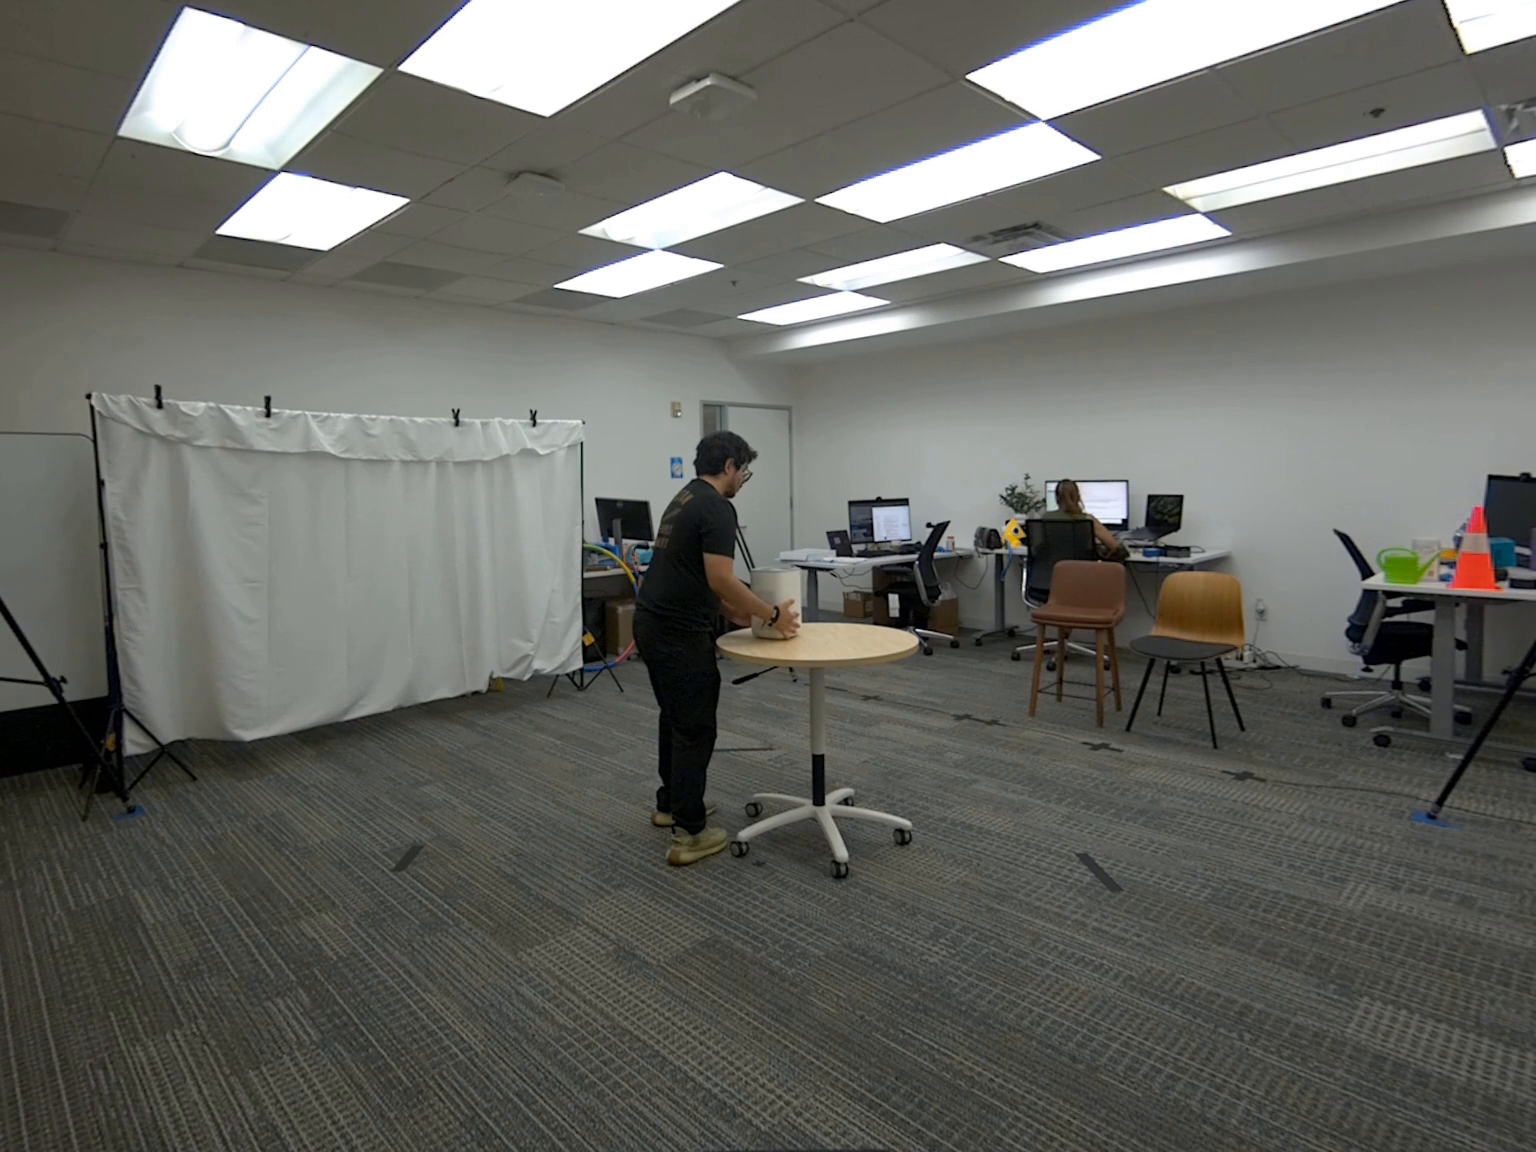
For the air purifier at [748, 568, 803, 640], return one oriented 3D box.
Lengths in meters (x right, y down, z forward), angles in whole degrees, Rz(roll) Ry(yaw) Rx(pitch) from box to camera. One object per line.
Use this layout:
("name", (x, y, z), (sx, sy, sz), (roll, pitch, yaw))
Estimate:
("air purifier", (0.028, 0.103, 3.340), (0.176, 0.265, 0.167), (1, 3, 32))
